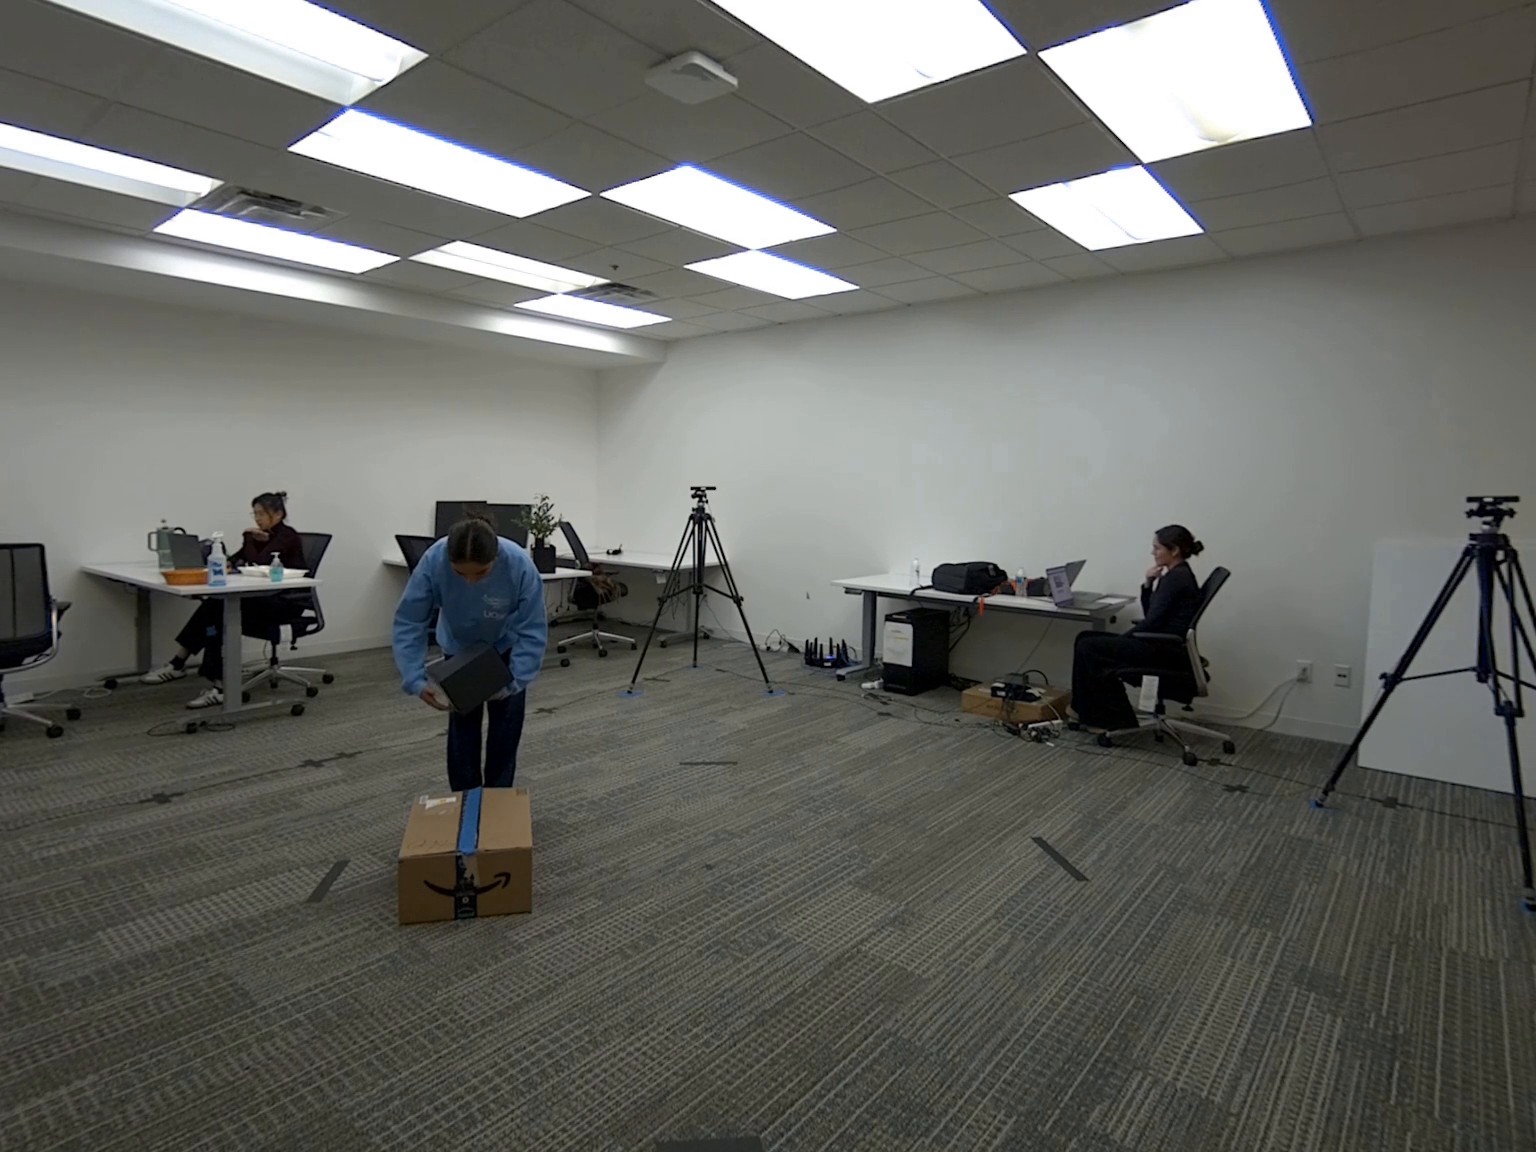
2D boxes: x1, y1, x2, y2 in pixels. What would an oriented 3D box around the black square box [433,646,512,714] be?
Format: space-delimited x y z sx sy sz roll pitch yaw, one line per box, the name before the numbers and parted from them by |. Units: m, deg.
black square box | -1.097 0.364 3.159 0.226 0.153 0.223 -38 19 -24
